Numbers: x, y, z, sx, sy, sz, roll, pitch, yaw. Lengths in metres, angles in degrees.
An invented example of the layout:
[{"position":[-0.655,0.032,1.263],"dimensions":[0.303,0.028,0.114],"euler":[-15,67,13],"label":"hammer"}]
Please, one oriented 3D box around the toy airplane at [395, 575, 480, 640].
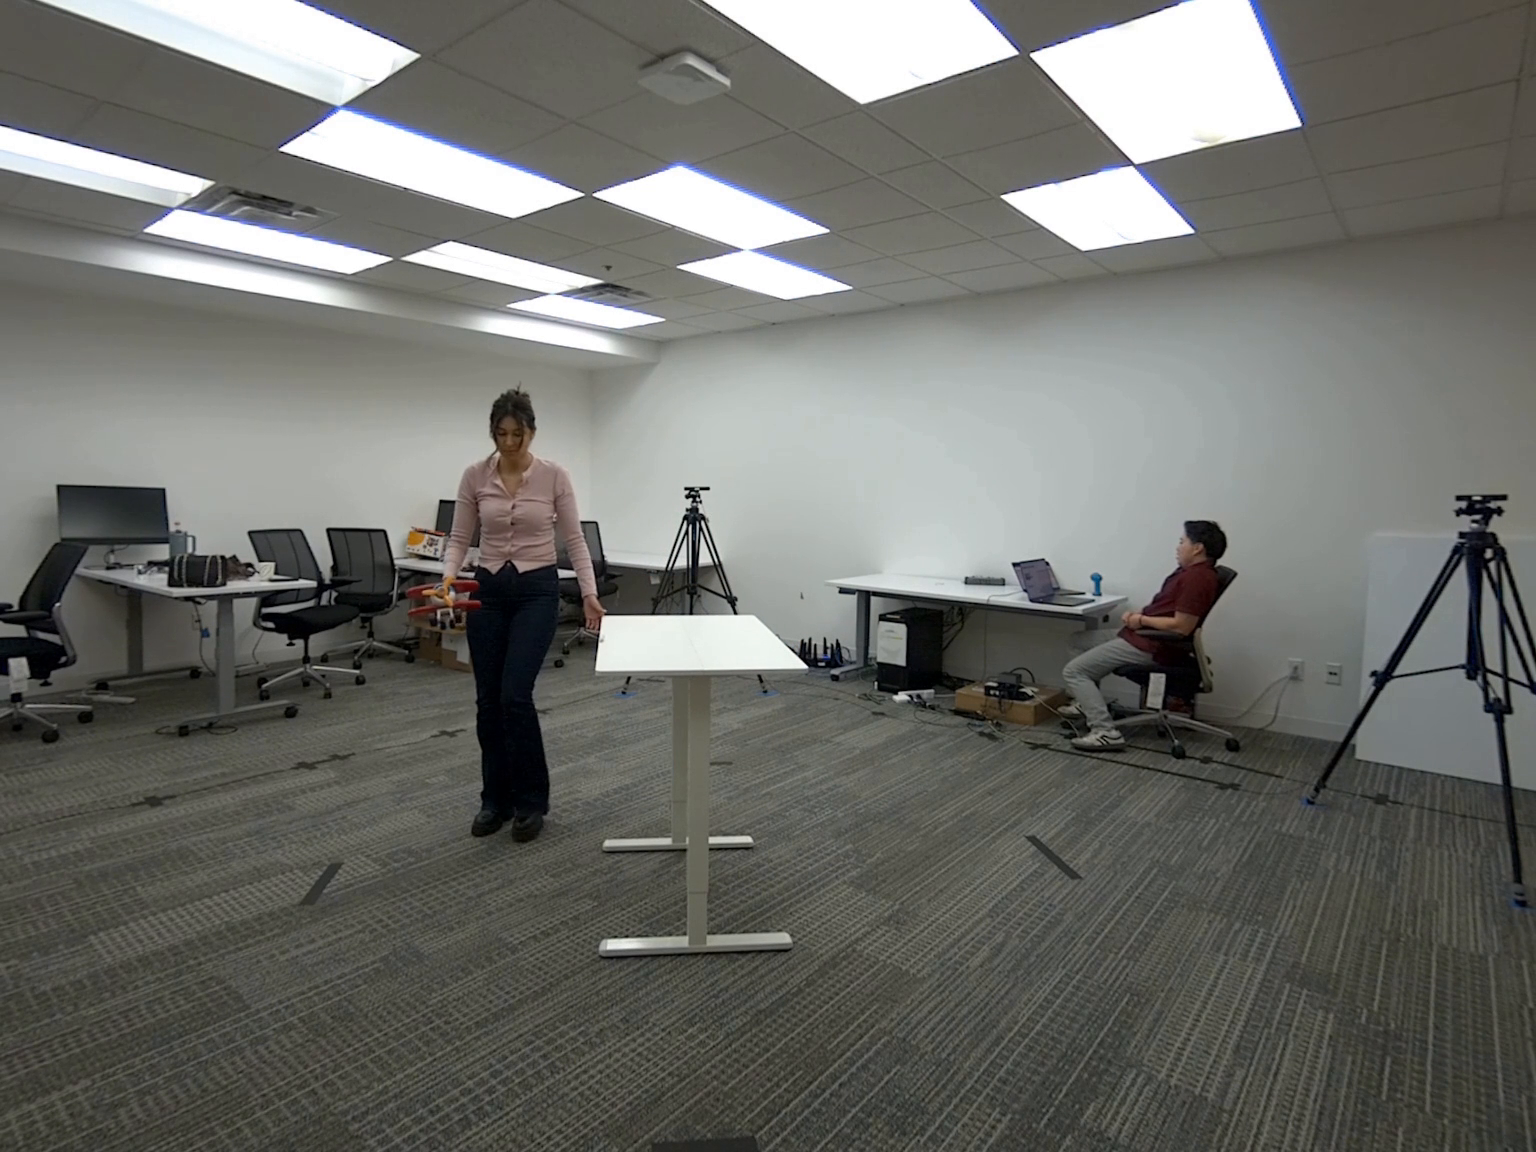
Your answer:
[{"position":[-1.198,0.112,3.102],"dimensions":[0.244,0.158,0.264],"euler":[-9,-8,-39],"label":"toy airplane"}]
